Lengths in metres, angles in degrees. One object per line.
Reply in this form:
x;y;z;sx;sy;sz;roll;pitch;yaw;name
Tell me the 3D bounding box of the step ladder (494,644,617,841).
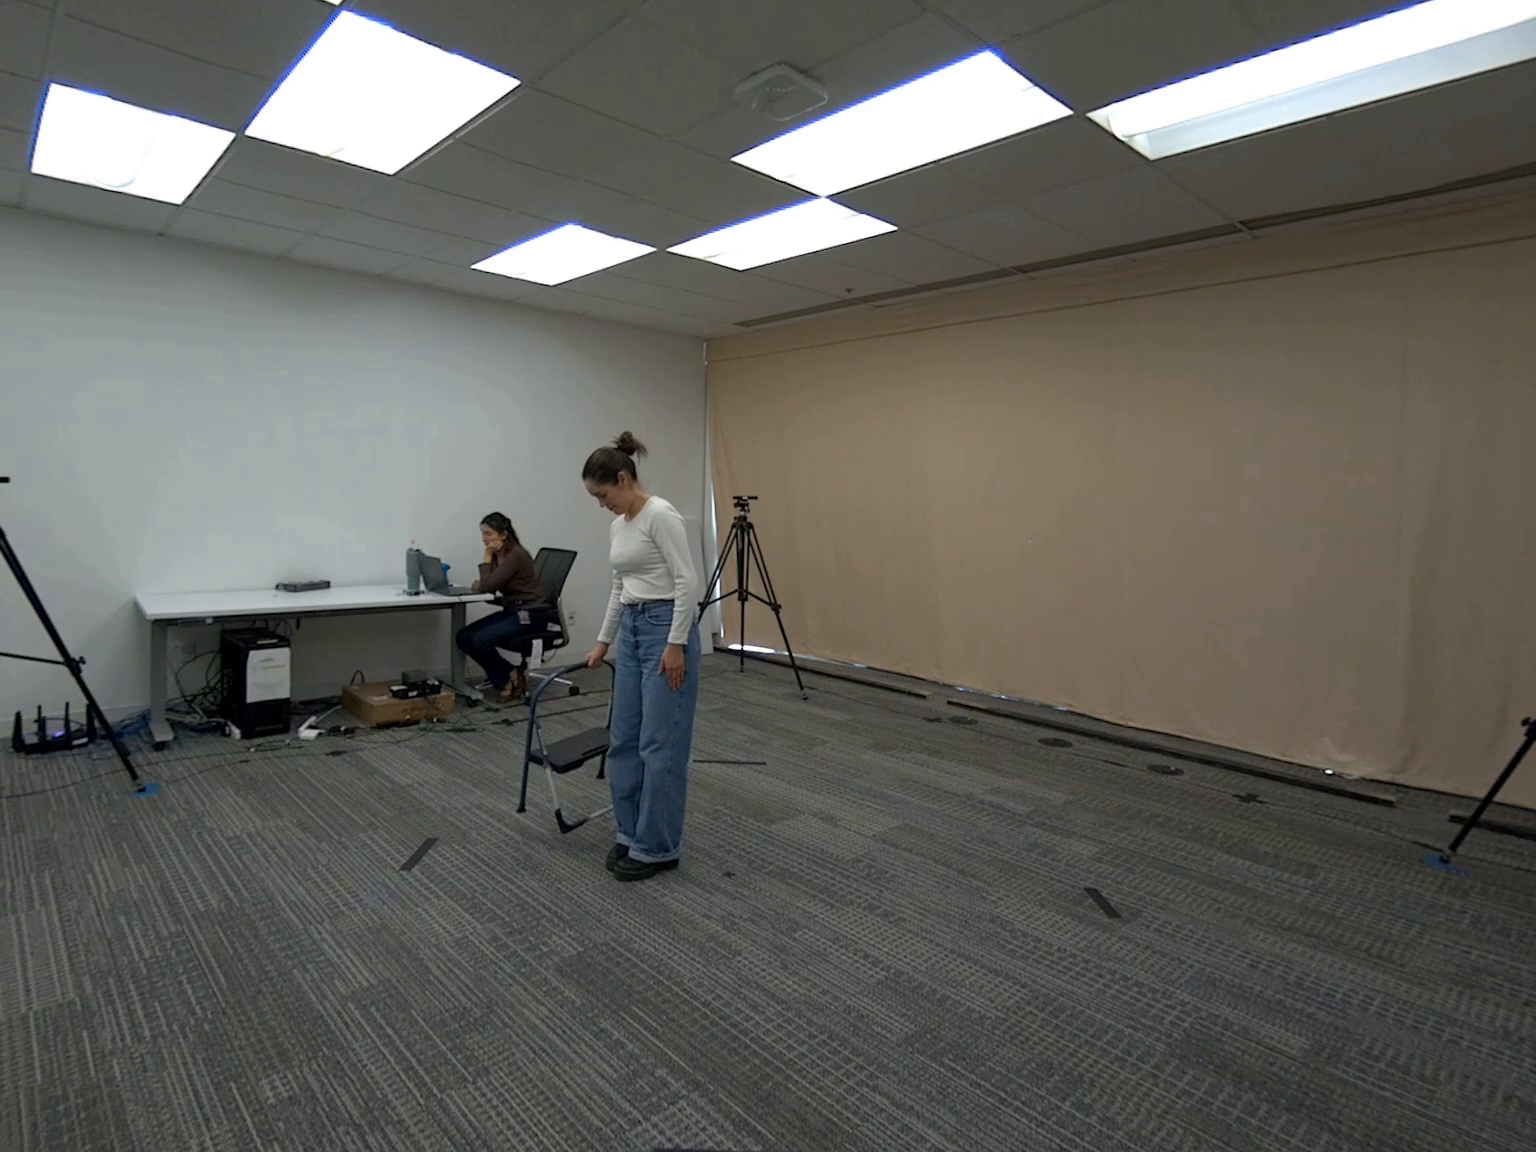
-0.791;0.644;3.421;0.423;0.601;0.358;-13;13;-43;step ladder
